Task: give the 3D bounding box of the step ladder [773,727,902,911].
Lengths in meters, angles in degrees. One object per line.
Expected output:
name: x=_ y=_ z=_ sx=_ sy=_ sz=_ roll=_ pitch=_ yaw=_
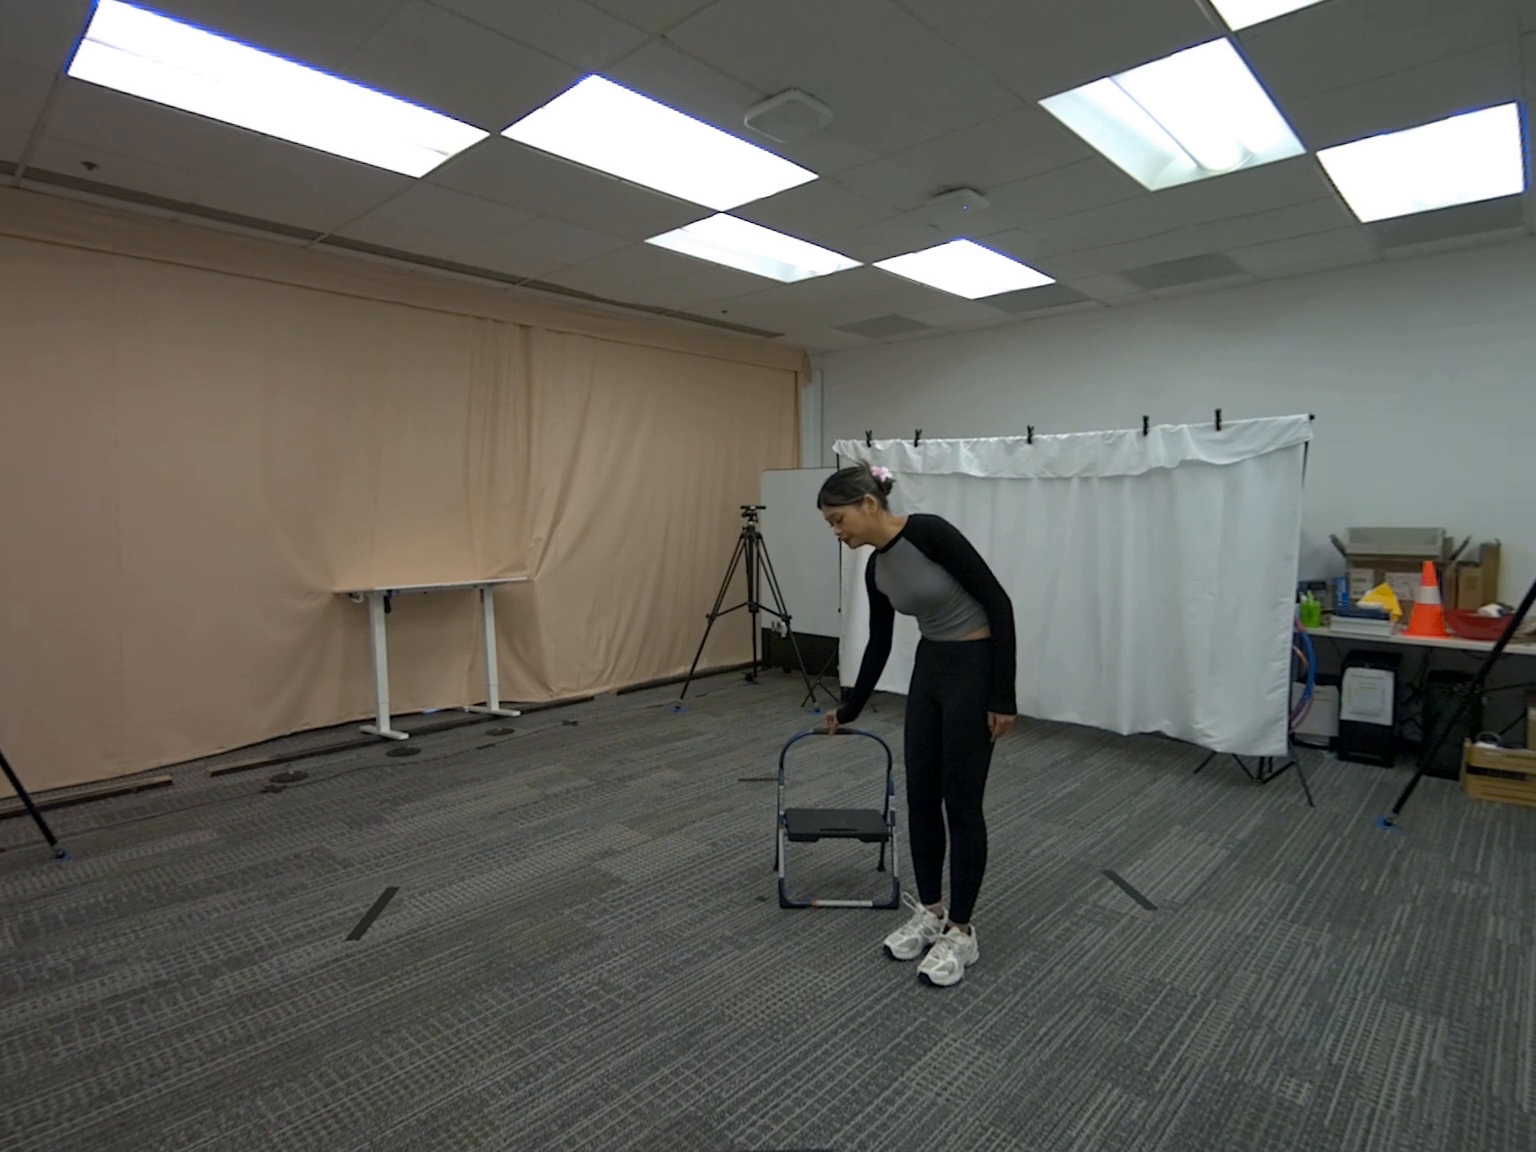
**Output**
step ladder: x=0.242 y=0.836 z=3.054 sx=0.431 sy=0.605 sz=0.350 roll=0 pitch=3 yaw=-1
